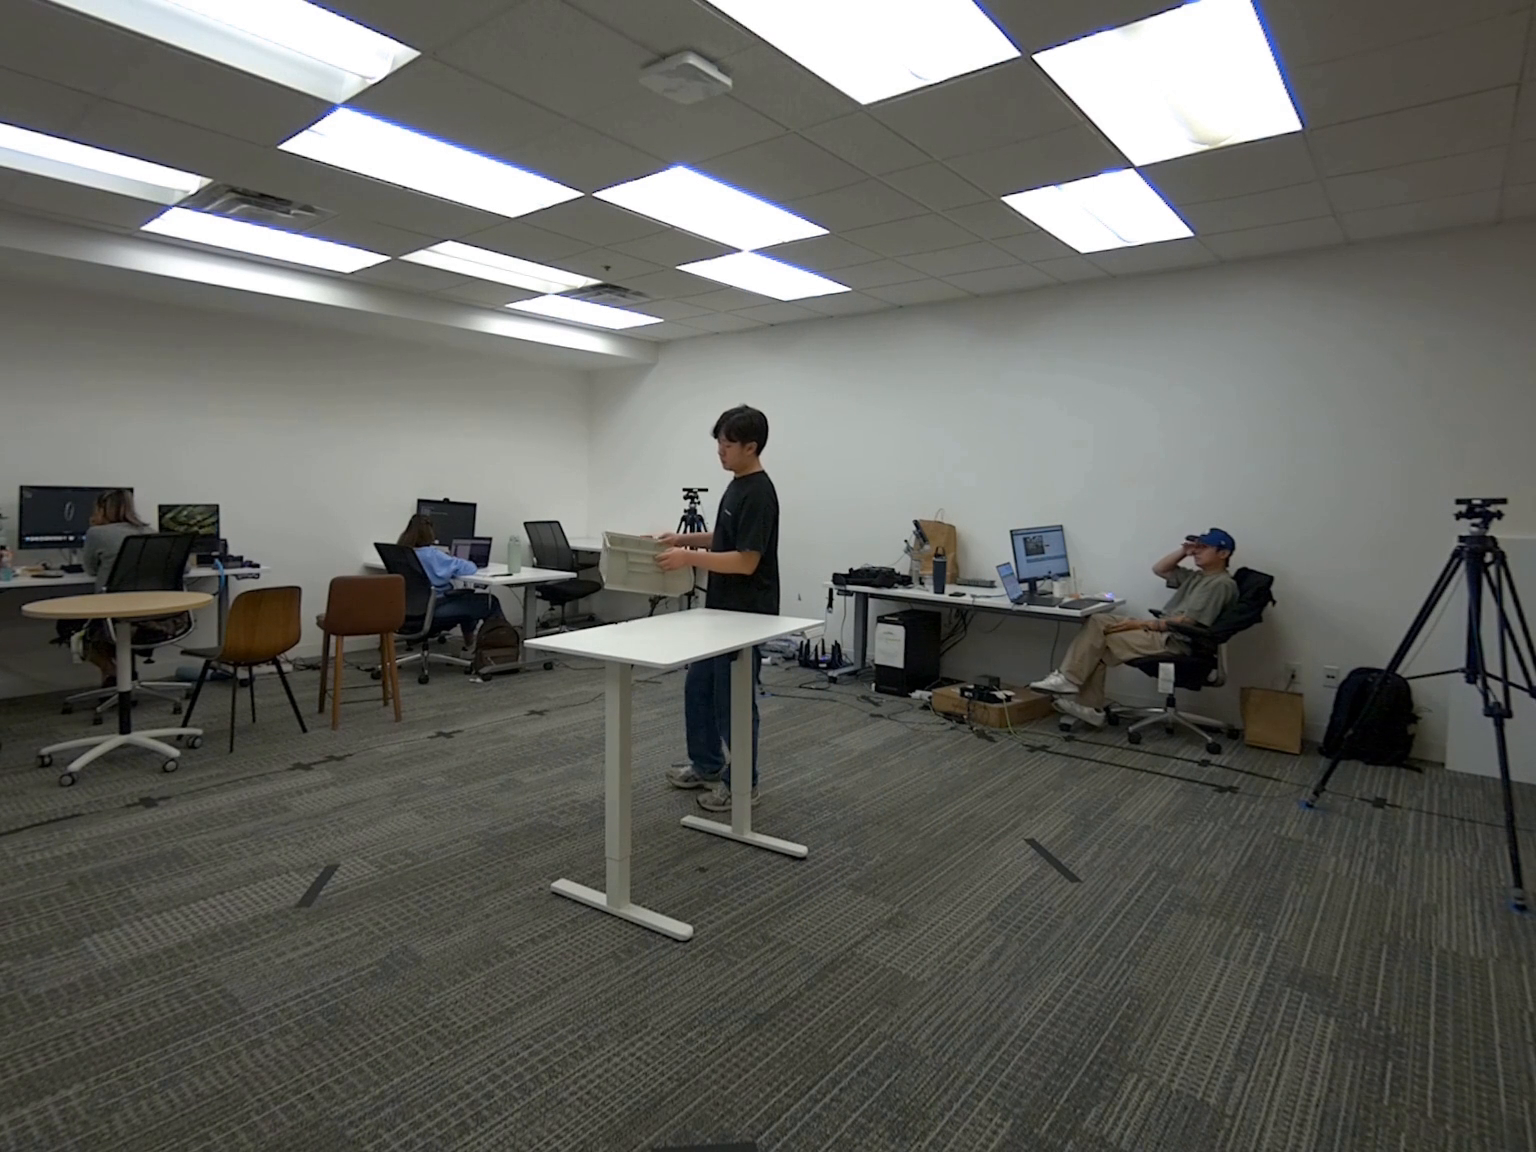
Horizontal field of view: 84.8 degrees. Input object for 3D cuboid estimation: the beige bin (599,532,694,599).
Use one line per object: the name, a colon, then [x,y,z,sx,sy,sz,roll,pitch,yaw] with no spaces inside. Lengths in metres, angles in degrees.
beige bin: [-0.557,-0.051,3.735,0.371,0.188,0.432,6,10,-15]
